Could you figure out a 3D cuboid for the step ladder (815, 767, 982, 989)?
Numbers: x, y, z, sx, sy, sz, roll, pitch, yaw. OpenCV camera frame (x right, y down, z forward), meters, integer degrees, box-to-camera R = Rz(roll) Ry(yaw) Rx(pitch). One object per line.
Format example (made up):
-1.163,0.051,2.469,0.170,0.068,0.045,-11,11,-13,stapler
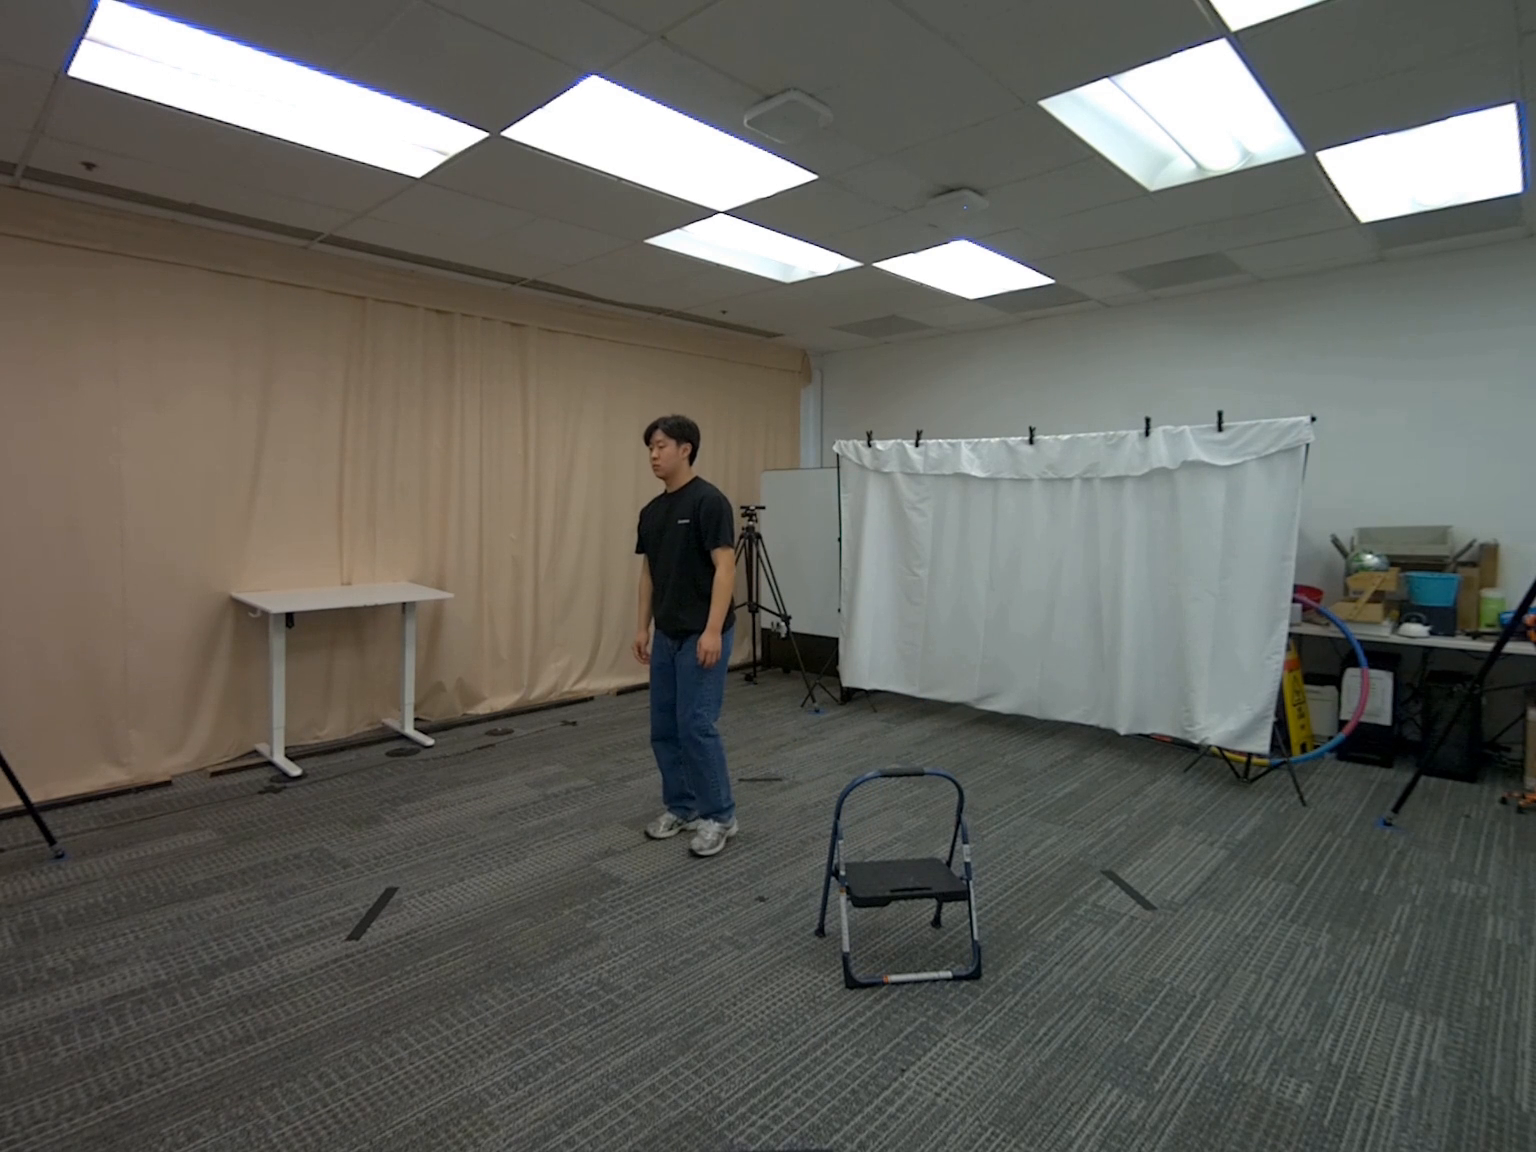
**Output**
0.393,0.871,2.608,0.426,0.605,0.353,-1,3,-10,step ladder
